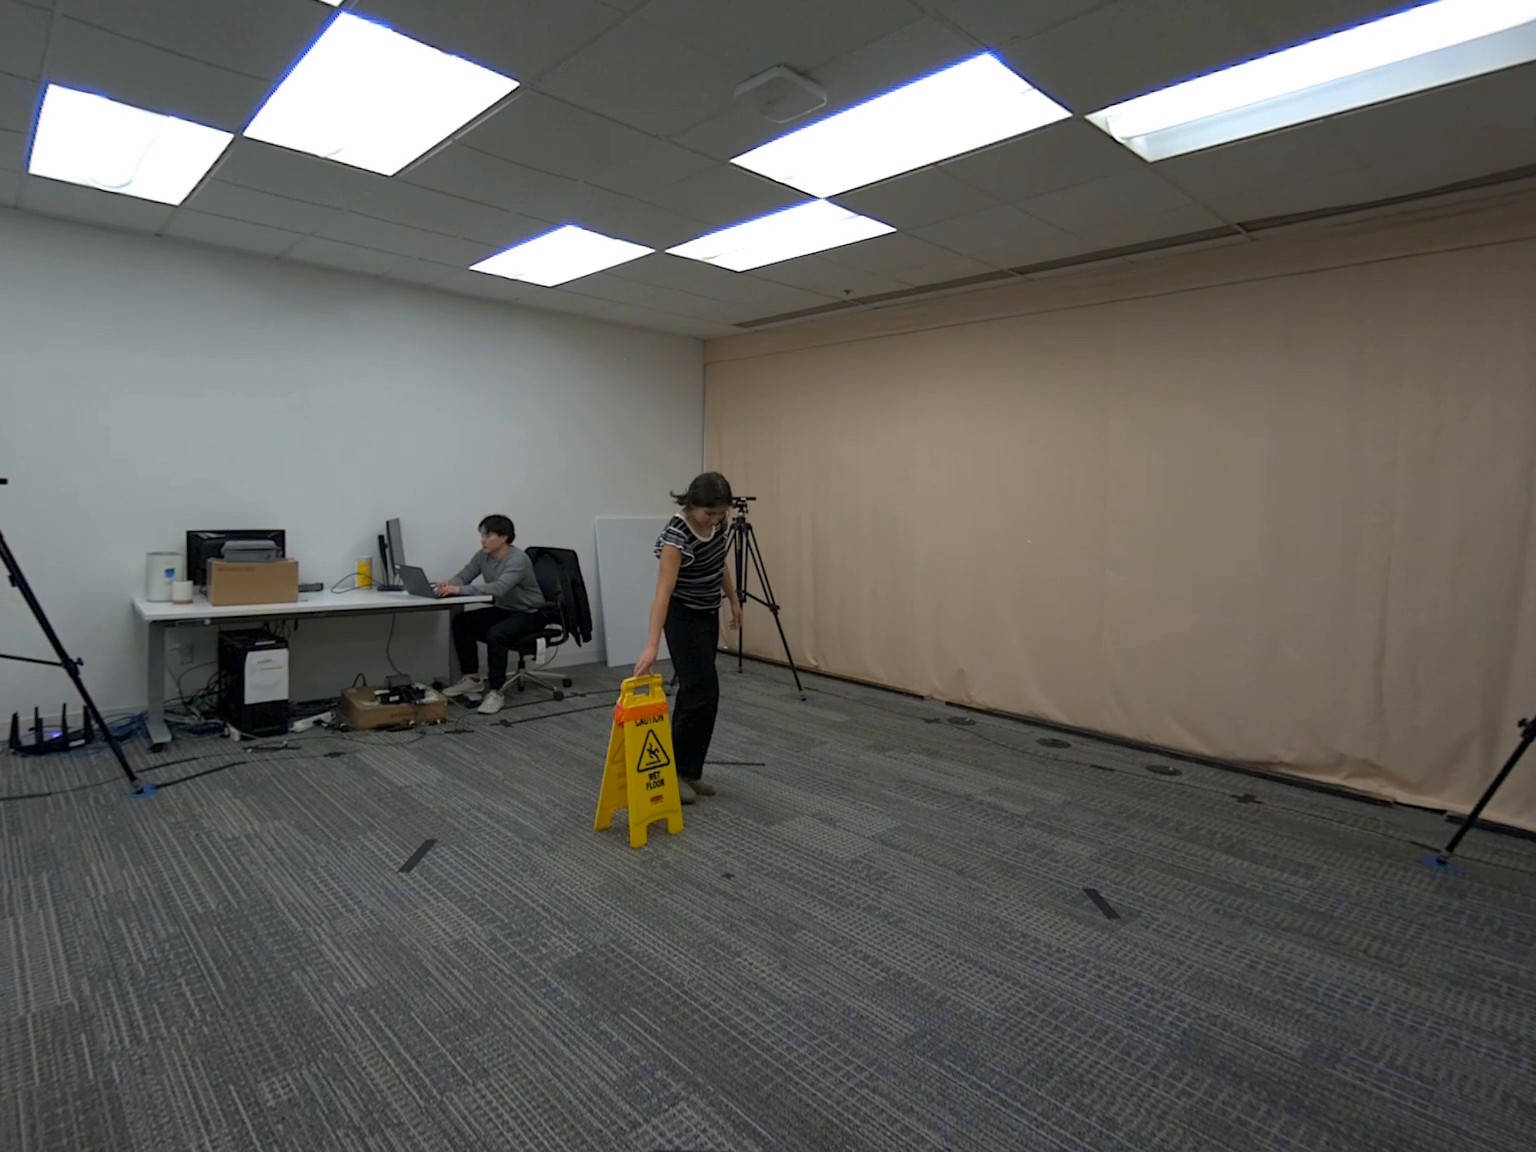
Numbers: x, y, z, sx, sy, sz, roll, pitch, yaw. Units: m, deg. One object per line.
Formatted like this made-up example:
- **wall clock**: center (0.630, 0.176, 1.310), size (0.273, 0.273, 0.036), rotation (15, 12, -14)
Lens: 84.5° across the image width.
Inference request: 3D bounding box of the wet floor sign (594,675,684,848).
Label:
- **wet floor sign**: center (-0.543, 0.739, 3.493), size (0.297, 0.645, 0.276), rotation (3, 3, 42)
